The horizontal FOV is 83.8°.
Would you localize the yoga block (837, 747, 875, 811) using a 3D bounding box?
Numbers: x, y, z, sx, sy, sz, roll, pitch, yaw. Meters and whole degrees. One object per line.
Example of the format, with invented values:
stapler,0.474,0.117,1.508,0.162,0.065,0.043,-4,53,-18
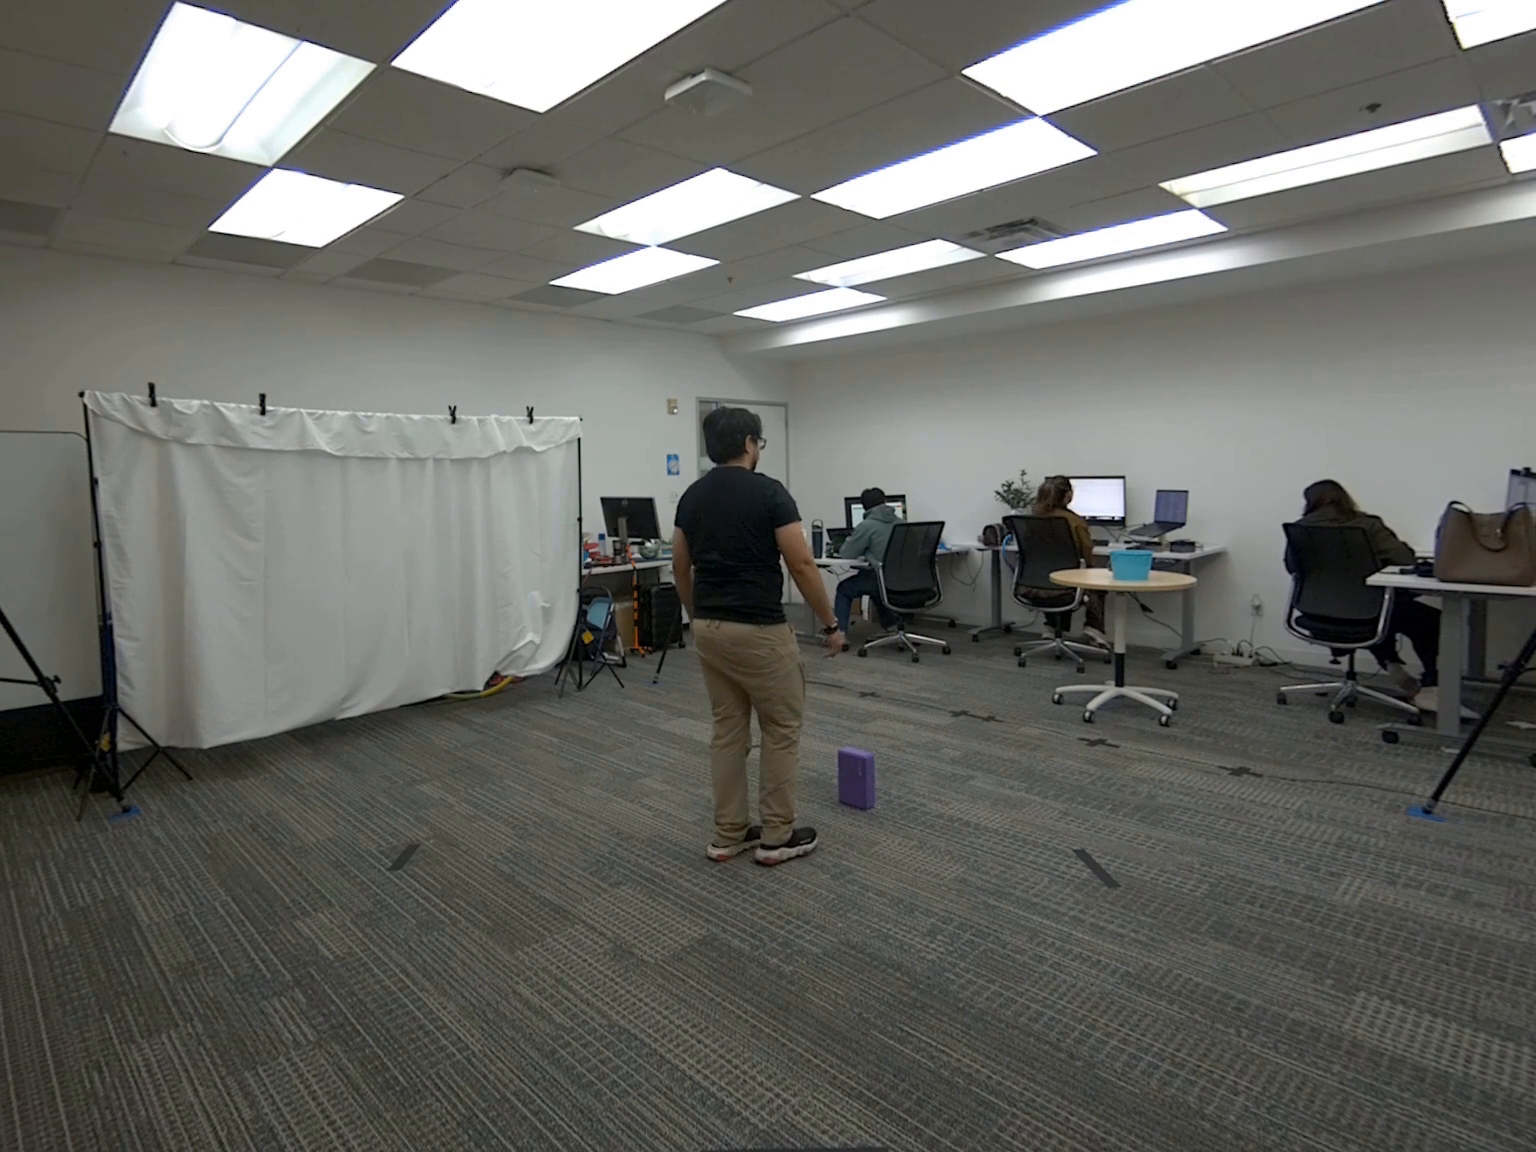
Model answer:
yoga block,0.376,0.853,3.622,0.074,0.228,0.153,-5,6,-45
